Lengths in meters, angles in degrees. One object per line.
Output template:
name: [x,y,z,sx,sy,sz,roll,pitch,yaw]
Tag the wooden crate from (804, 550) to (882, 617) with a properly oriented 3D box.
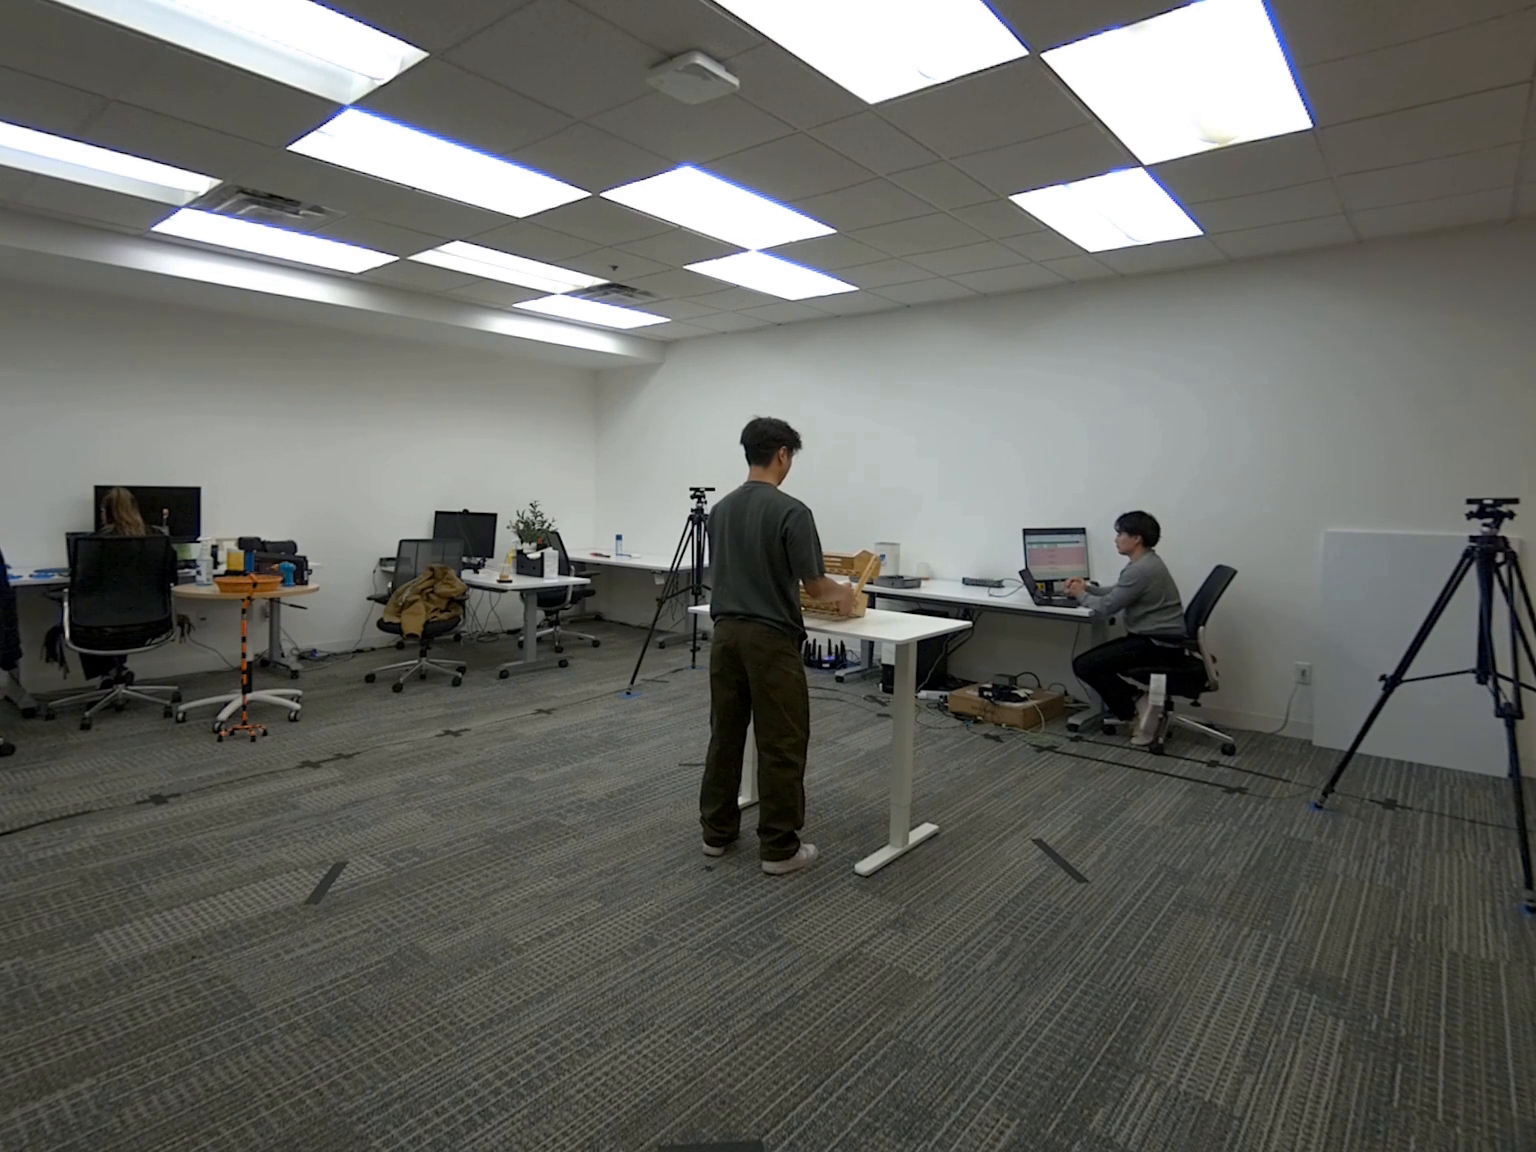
wooden crate: [0.235,0.000,3.502,0.335,0.275,0.290,5,-9,41]
